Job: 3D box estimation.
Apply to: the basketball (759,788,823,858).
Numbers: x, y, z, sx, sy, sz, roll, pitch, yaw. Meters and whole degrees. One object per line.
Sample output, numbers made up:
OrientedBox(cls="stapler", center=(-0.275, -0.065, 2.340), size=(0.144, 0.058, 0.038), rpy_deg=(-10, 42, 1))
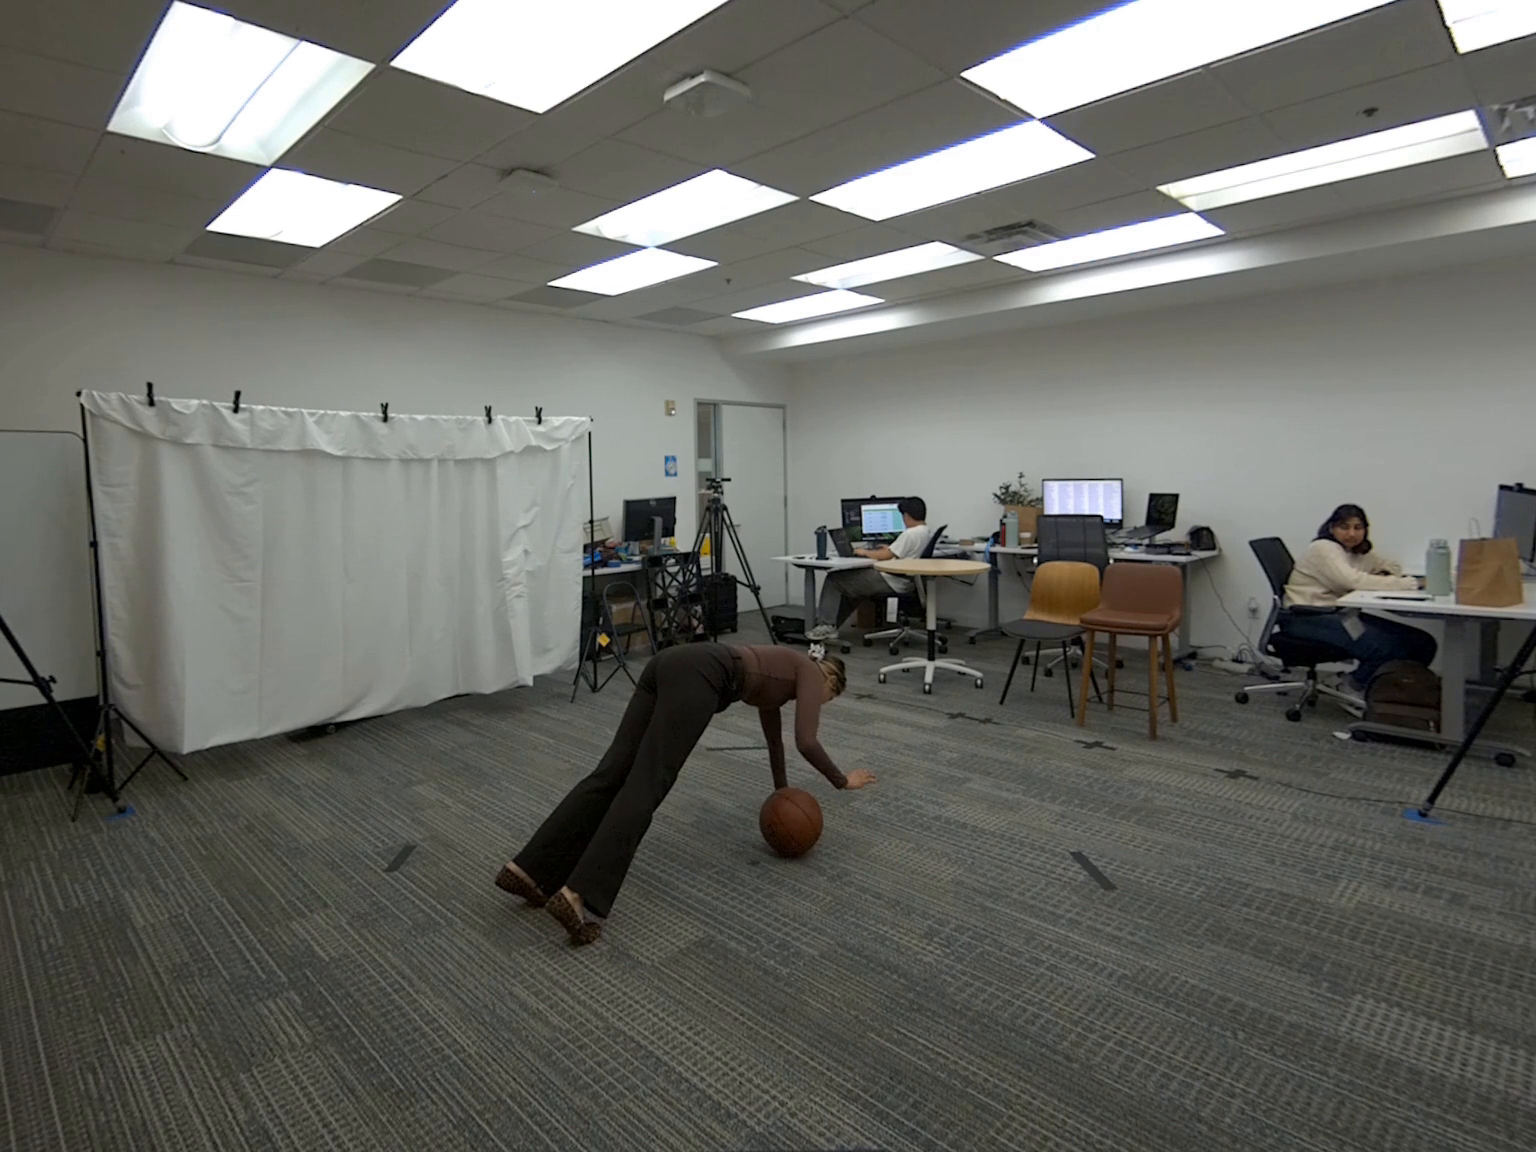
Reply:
OrientedBox(cls="basketball", center=(0.089, 0.912, 3.184), size=(0.236, 0.235, 0.237), rpy_deg=(-1, 5, -2))
